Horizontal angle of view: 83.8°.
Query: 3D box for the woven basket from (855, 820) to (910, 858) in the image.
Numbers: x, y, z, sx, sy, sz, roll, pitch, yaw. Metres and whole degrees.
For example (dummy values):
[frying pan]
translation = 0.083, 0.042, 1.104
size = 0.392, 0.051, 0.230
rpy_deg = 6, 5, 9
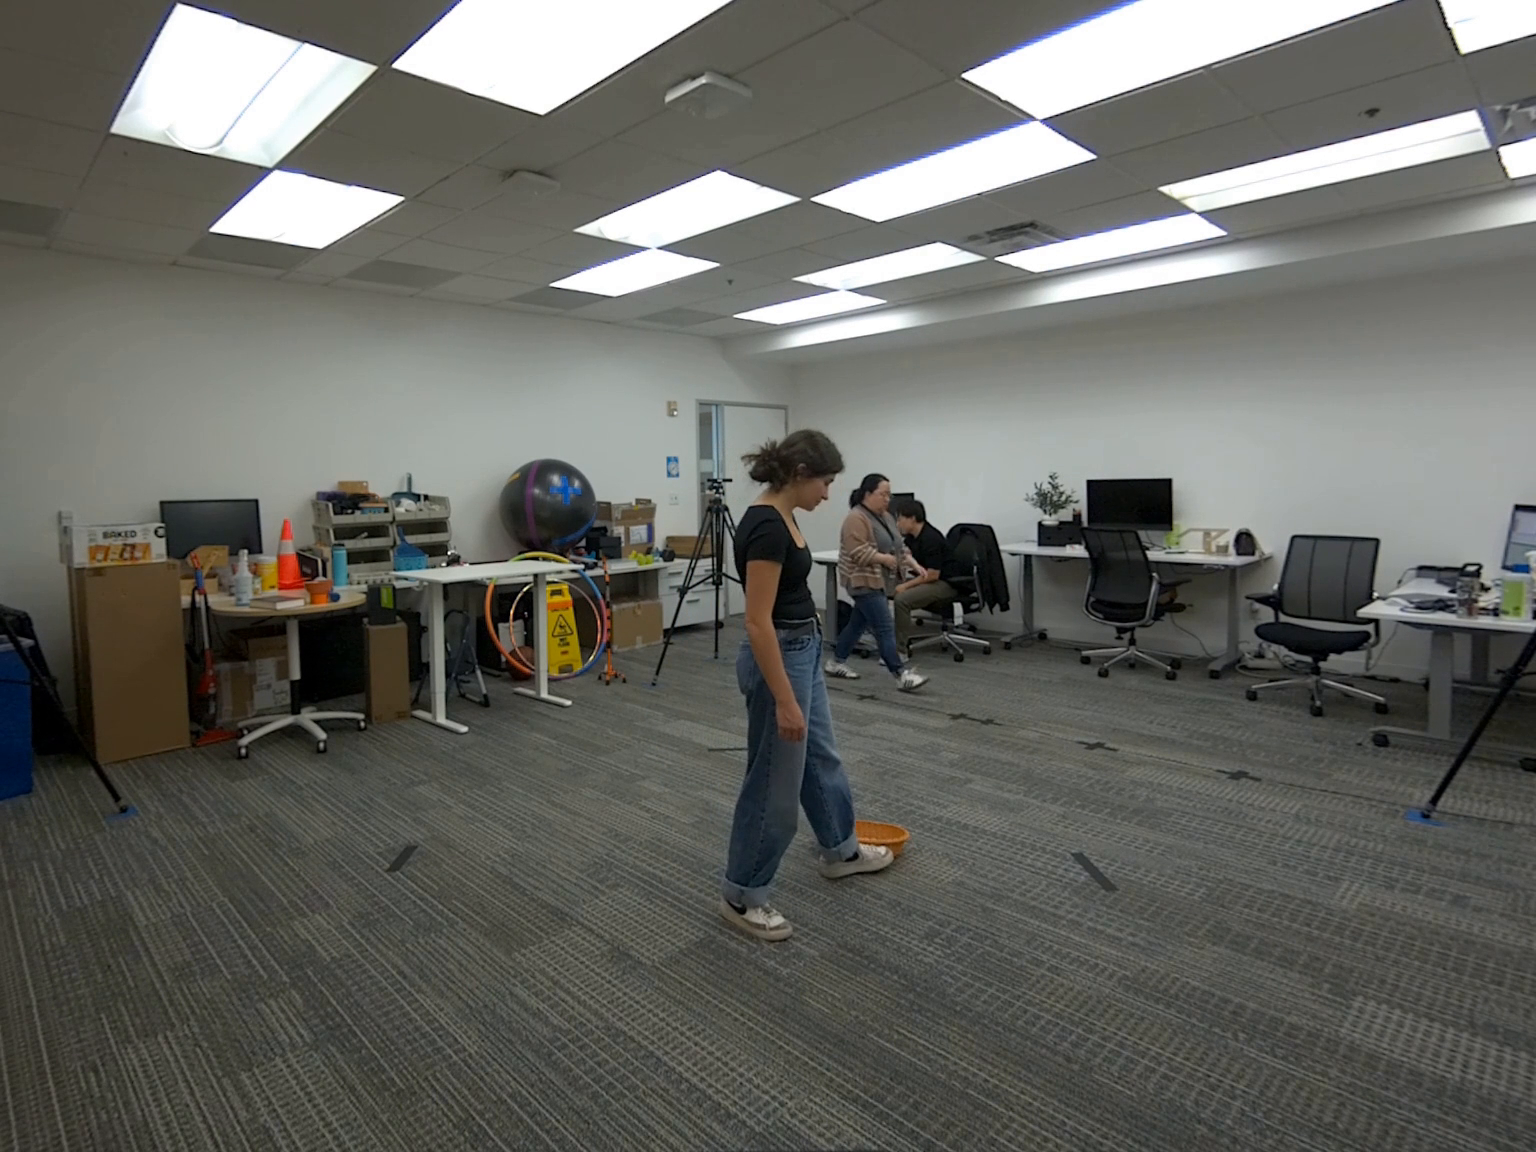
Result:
[woven basket]
translation = 0.351, 0.983, 3.193
size = 0.357, 0.073, 0.247
rpy_deg = 0, 1, 21
